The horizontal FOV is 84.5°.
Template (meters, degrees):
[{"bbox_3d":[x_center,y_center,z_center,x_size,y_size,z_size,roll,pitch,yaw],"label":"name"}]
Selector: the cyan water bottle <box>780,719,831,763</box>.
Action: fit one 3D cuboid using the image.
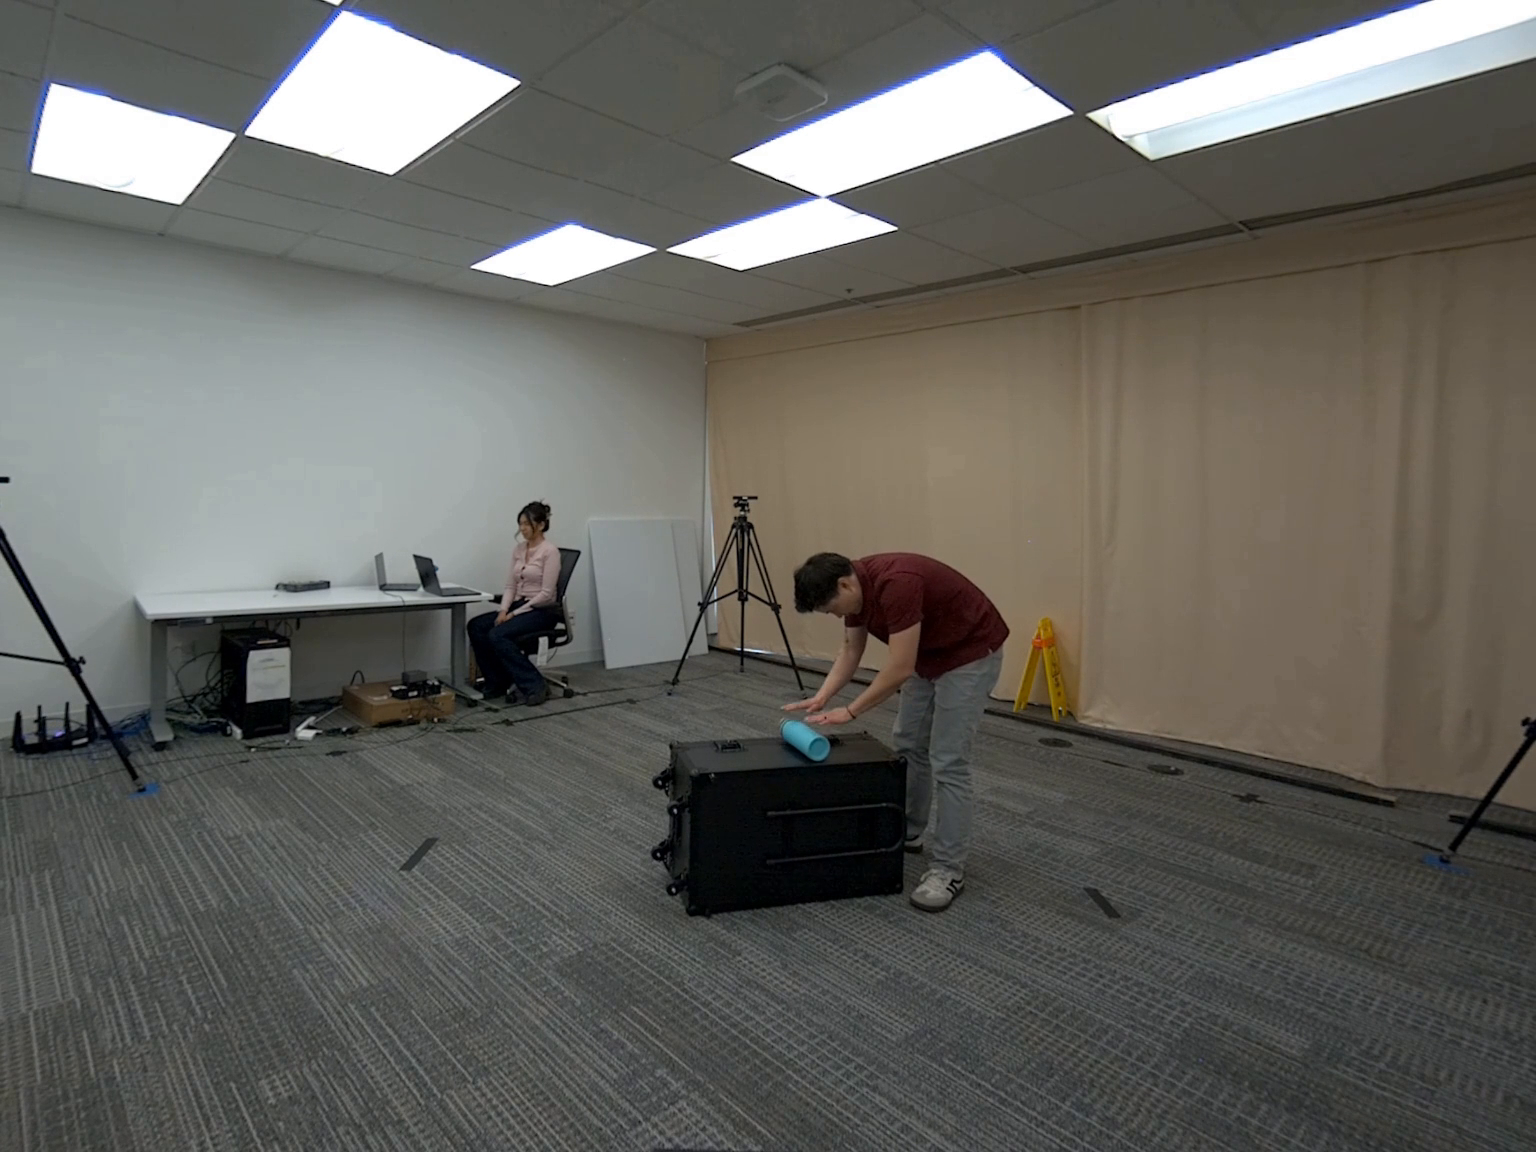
[{"bbox_3d":[0.120,0.580,3.040,0.091,0.092,0.289,0,6,-21],"label":"cyan water bottle"}]
